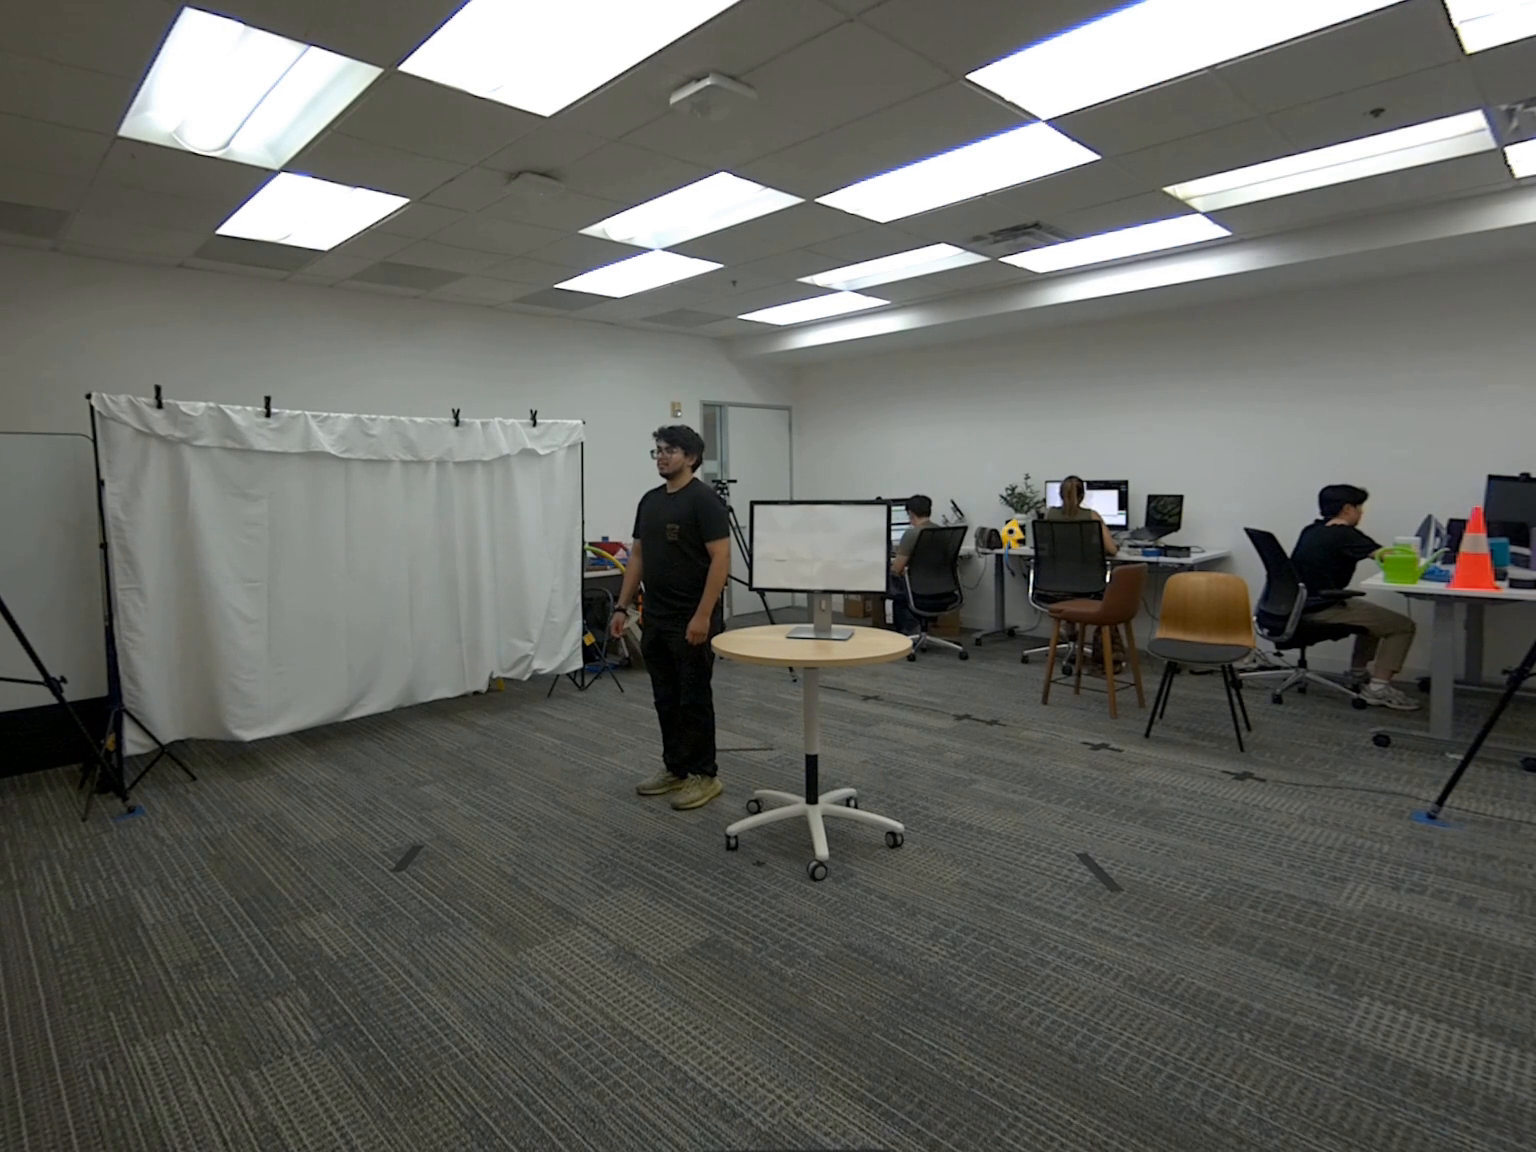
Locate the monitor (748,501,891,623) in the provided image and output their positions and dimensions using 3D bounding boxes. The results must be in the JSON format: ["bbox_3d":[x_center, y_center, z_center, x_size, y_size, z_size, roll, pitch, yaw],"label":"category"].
[{"bbox_3d":[0.215,-0.030,3.394,0.574,0.554,0.207,1,1,16],"label":"monitor"}]
